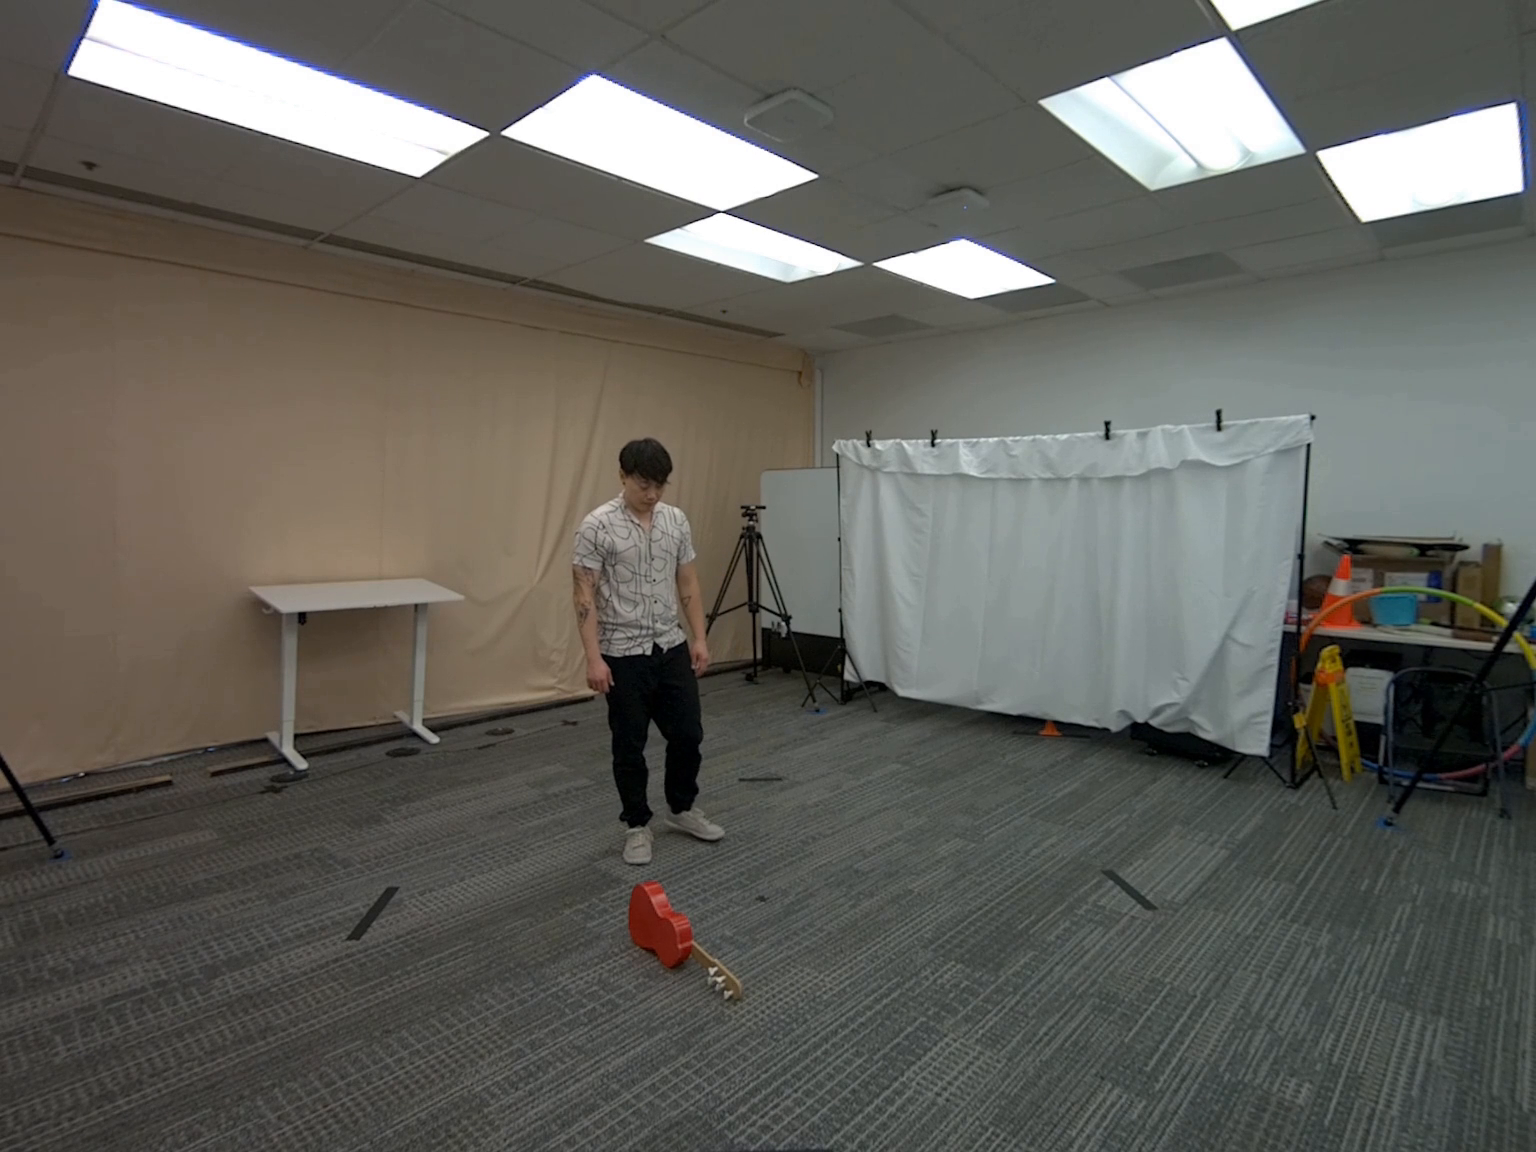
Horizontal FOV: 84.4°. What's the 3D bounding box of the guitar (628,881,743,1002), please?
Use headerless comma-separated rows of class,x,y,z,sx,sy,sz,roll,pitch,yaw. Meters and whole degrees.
guitar,-0.255,1.088,2.534,0.068,0.193,0.514,3,2,-41
